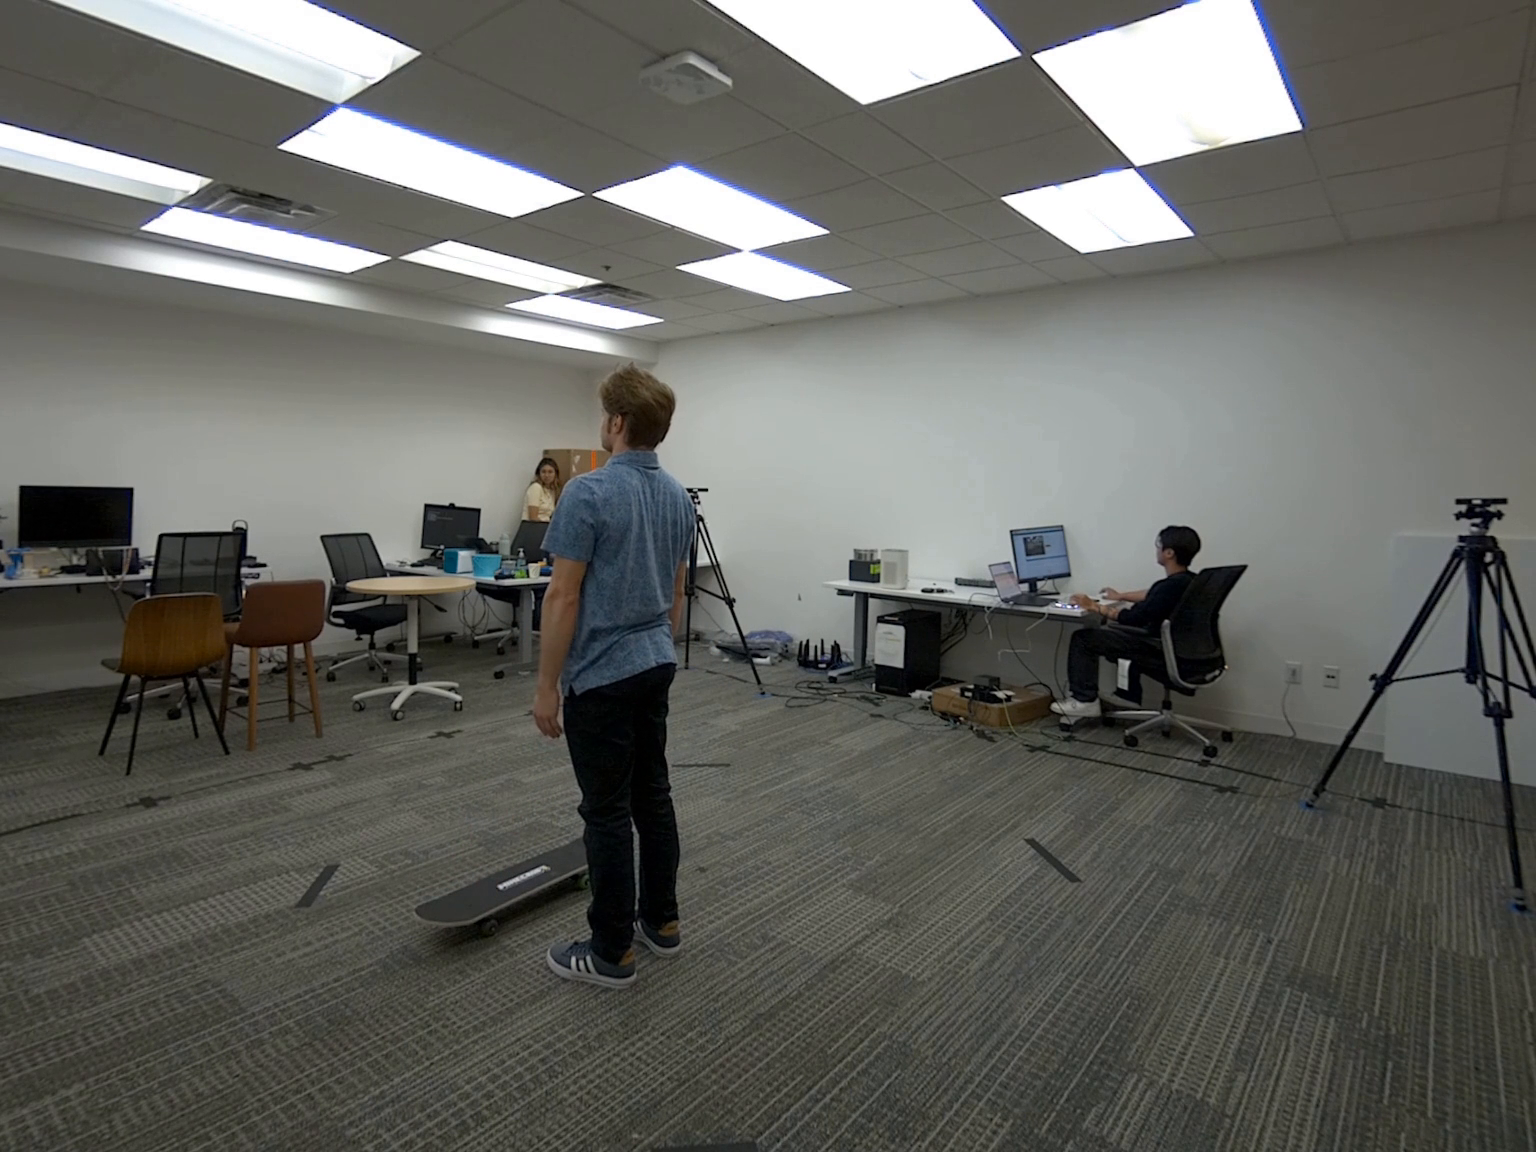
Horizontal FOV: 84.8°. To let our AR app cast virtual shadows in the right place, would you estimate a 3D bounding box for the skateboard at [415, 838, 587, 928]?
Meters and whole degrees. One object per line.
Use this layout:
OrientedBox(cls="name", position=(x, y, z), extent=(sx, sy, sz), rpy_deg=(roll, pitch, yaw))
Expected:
OrientedBox(cls="skateboard", position=(-0.818, 1.032, 2.828), extent=(0.200, 0.110, 0.763), rpy_deg=(4, 7, 35))
